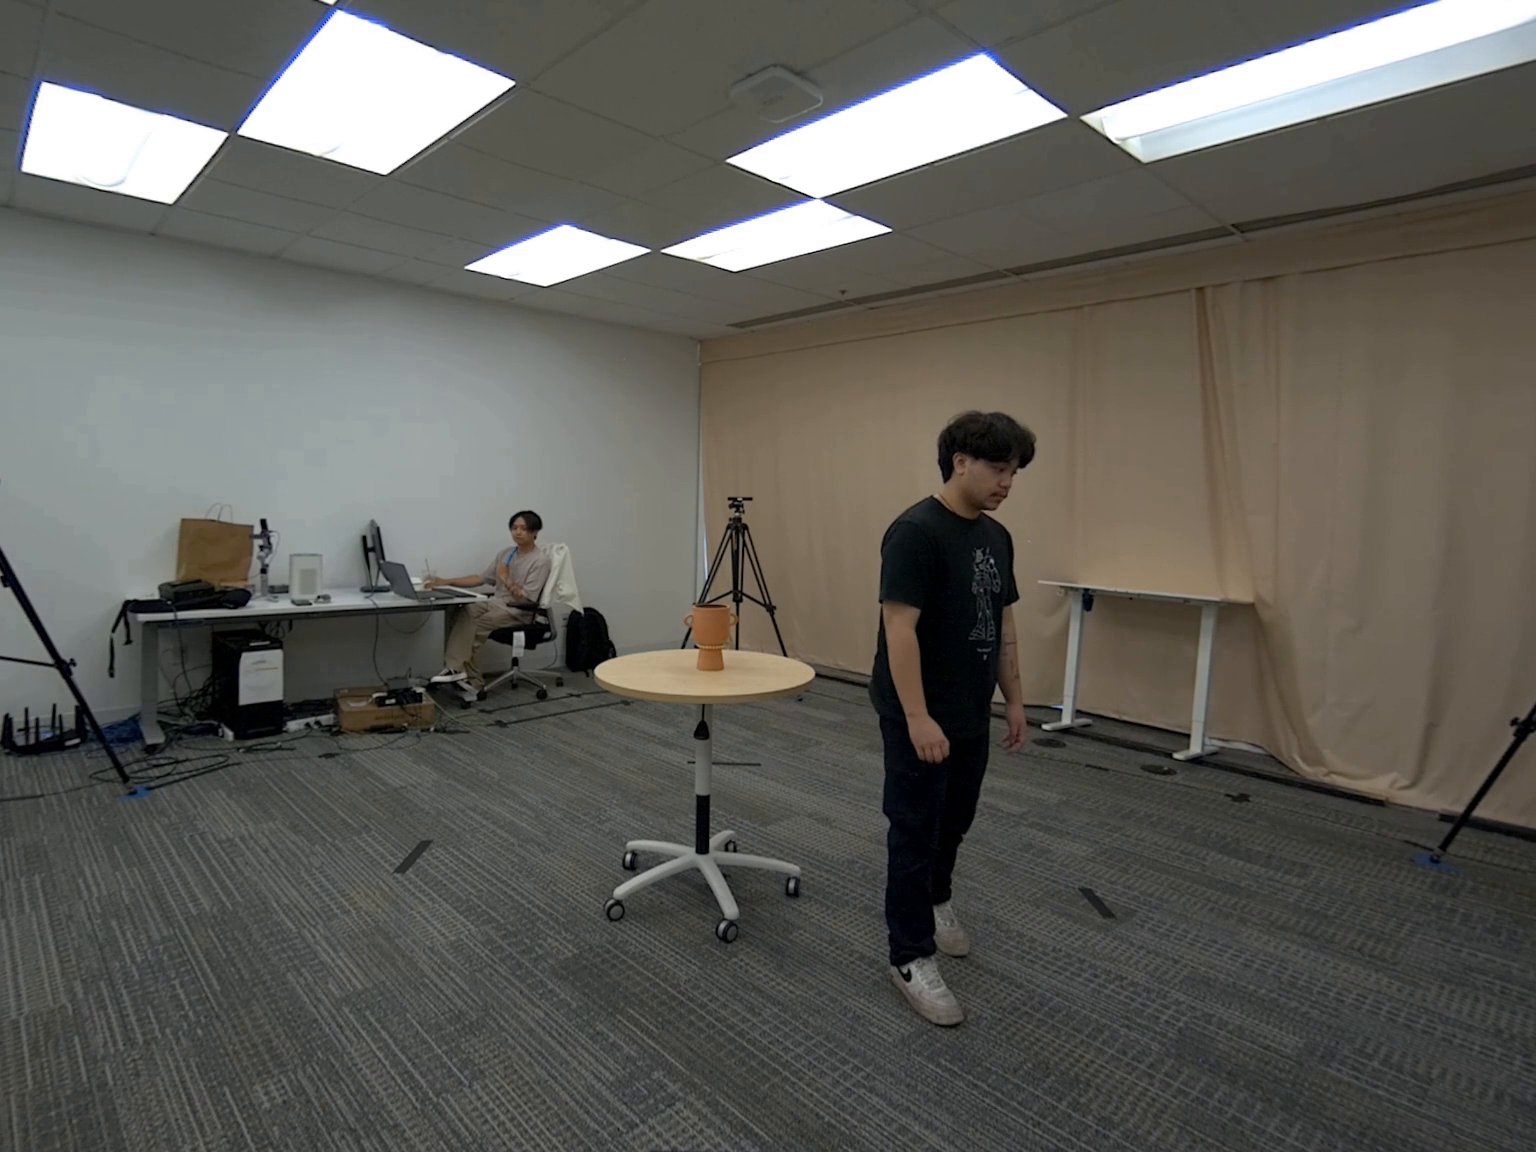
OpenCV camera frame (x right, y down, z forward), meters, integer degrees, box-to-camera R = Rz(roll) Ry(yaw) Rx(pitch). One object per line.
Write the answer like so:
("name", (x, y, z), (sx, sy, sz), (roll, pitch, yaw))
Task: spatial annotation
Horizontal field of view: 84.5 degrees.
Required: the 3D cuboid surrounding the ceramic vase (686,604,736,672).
("ceramic vase", (-0.207, 0.216, 2.951), (0.161, 0.219, 0.133), (2, 4, 20))
